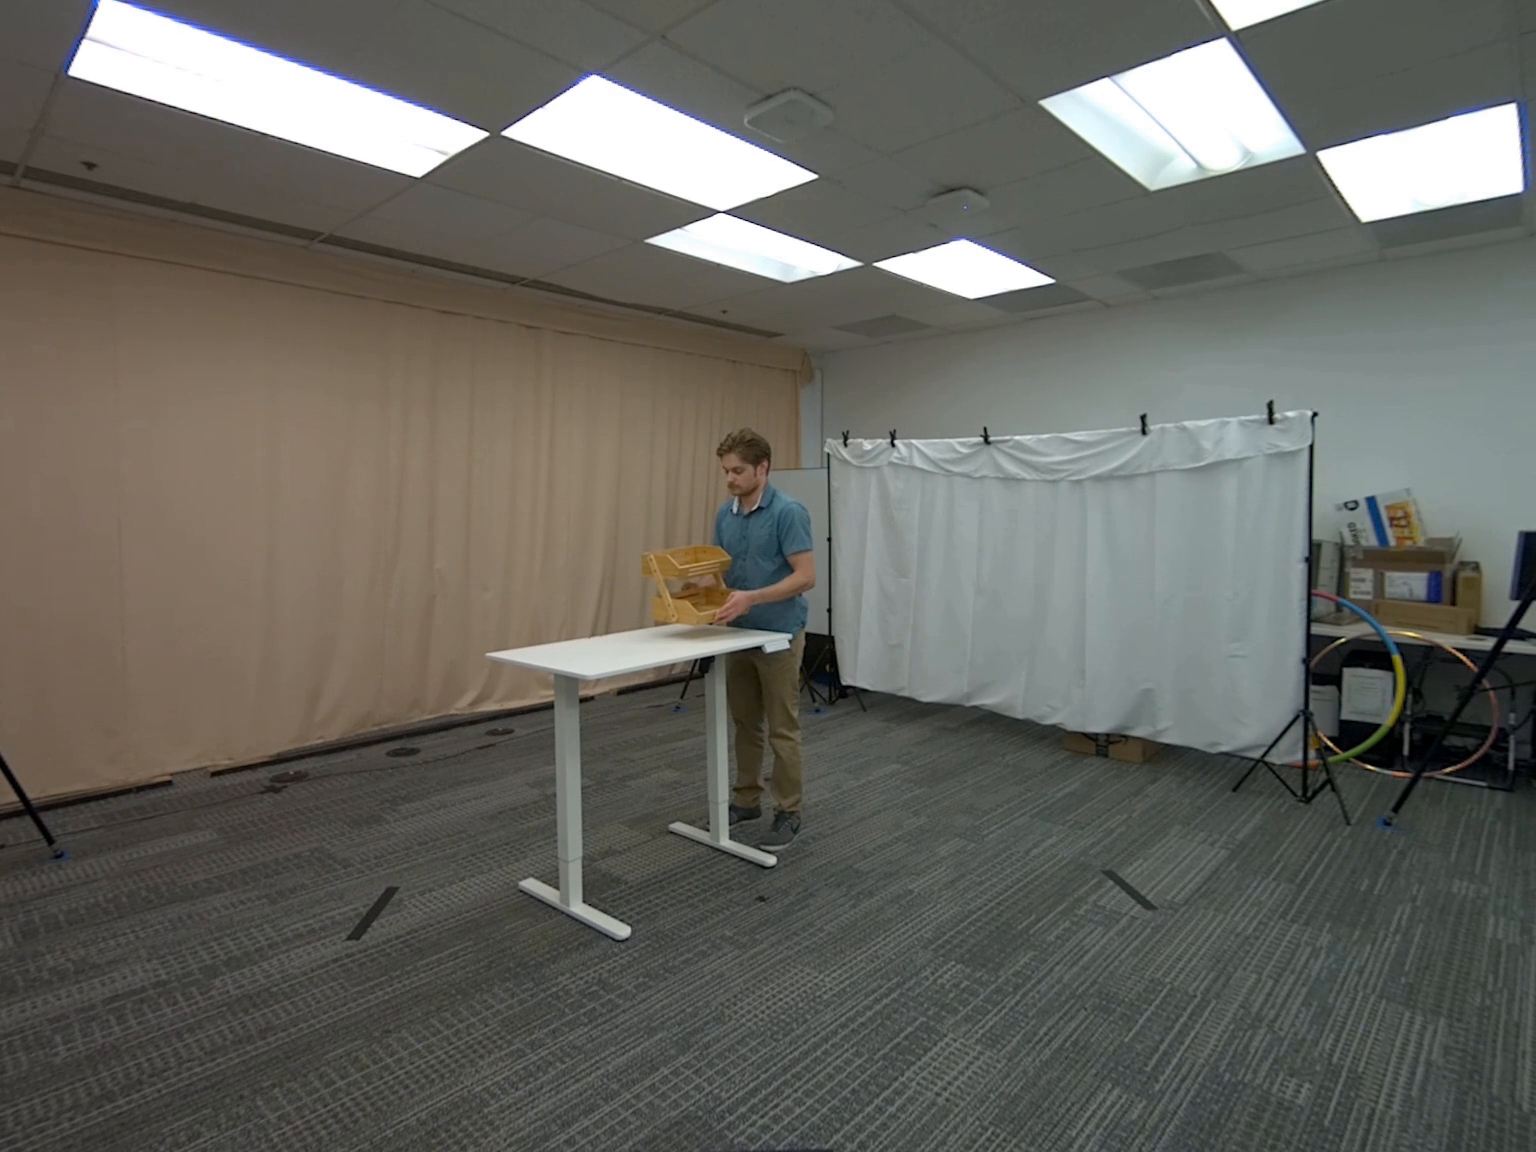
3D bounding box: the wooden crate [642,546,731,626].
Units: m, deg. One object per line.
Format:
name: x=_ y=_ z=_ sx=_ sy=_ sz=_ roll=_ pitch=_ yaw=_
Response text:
wooden crate: x=-0.289 y=0.028 z=3.330 sx=0.312 sy=0.272 sz=0.315 roll=5 pitch=9 yaw=41
